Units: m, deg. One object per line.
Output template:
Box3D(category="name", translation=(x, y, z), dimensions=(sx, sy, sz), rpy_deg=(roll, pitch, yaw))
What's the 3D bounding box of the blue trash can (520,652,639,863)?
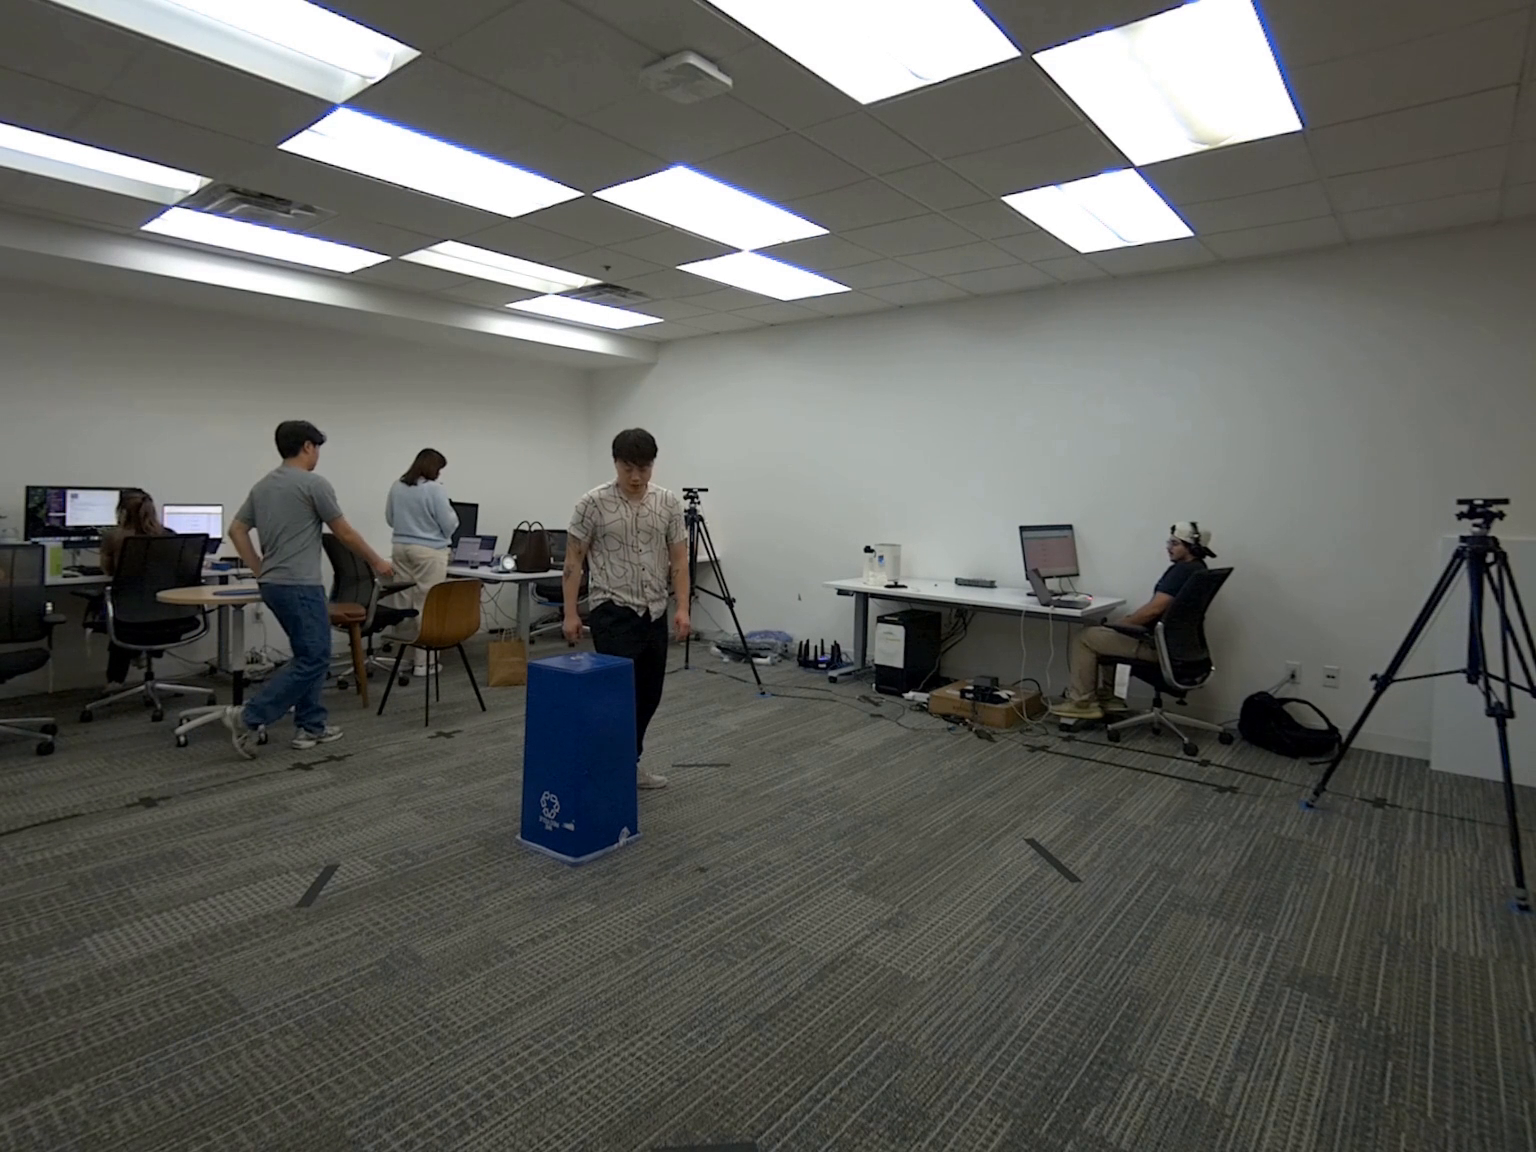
Box3D(category="blue trash can", translation=(-0.753, 0.683, 3.351), dimensions=(0.386, 0.712, 0.367), rpy_deg=(2, 3, 37))
